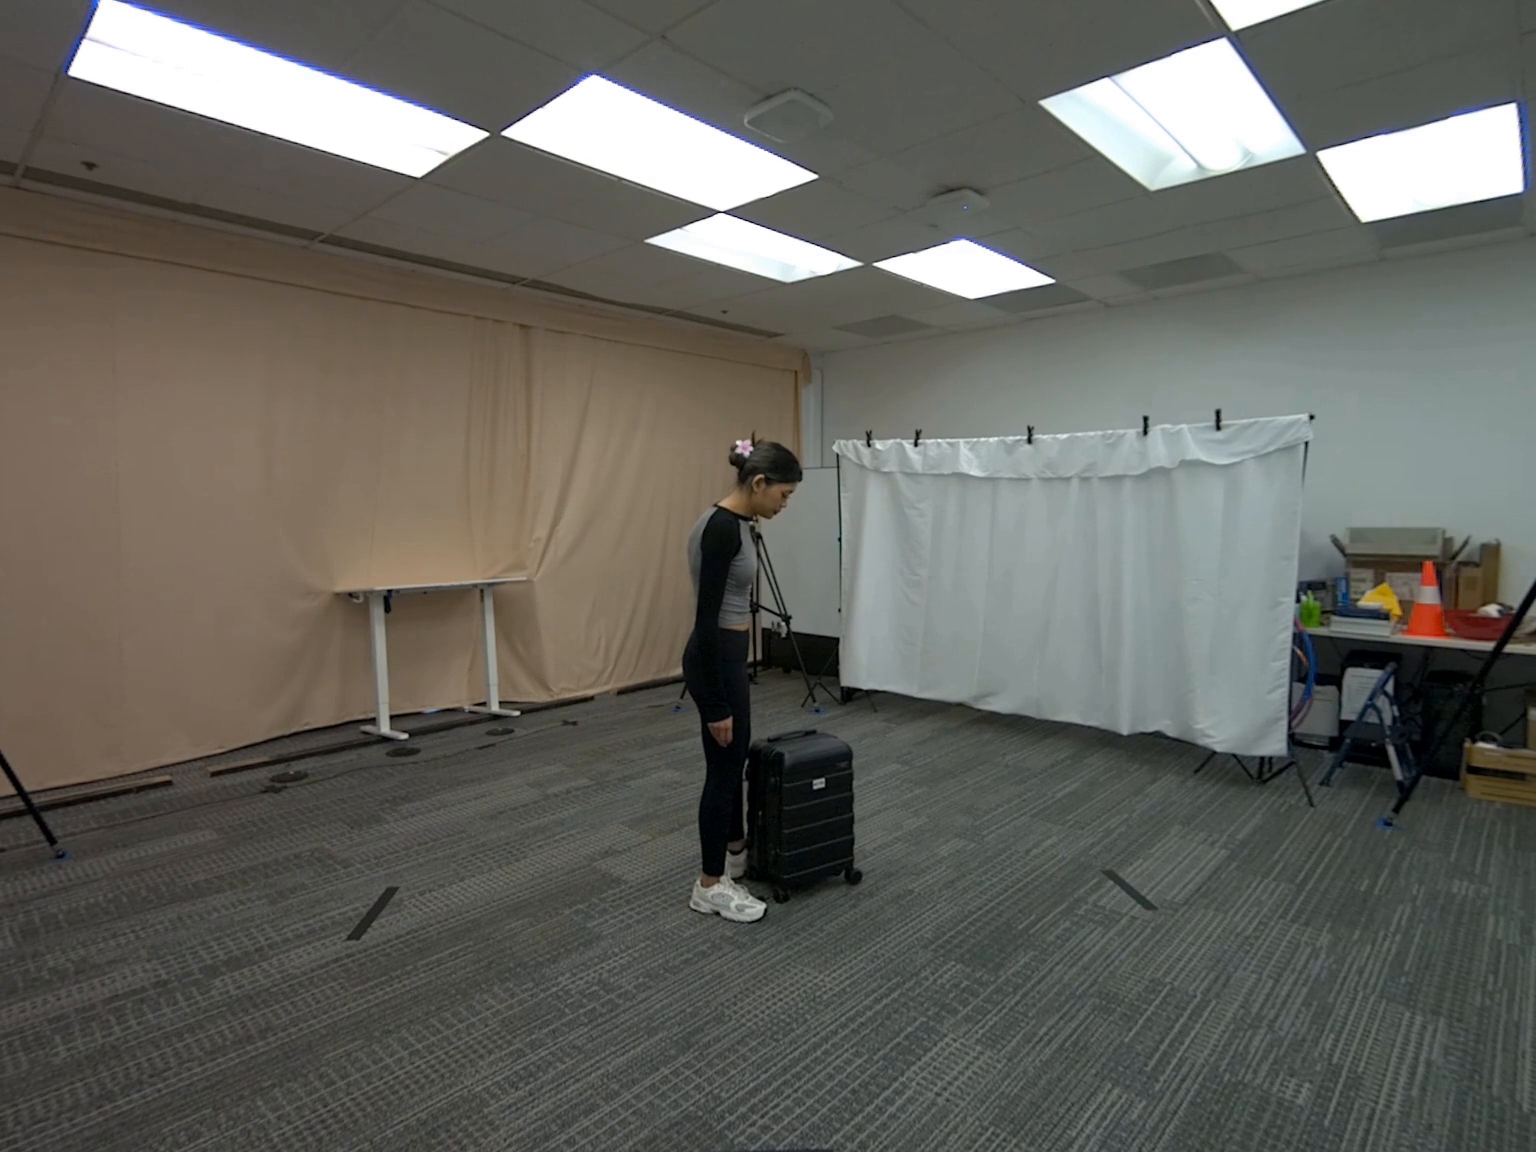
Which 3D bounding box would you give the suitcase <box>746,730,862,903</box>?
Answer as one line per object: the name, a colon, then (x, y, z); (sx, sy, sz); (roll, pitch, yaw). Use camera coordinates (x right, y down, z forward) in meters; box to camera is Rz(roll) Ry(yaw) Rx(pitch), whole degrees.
suitcase: (0.132, 0.856, 3.093); (0.365, 0.548, 0.256); (-3, 5, -33)
